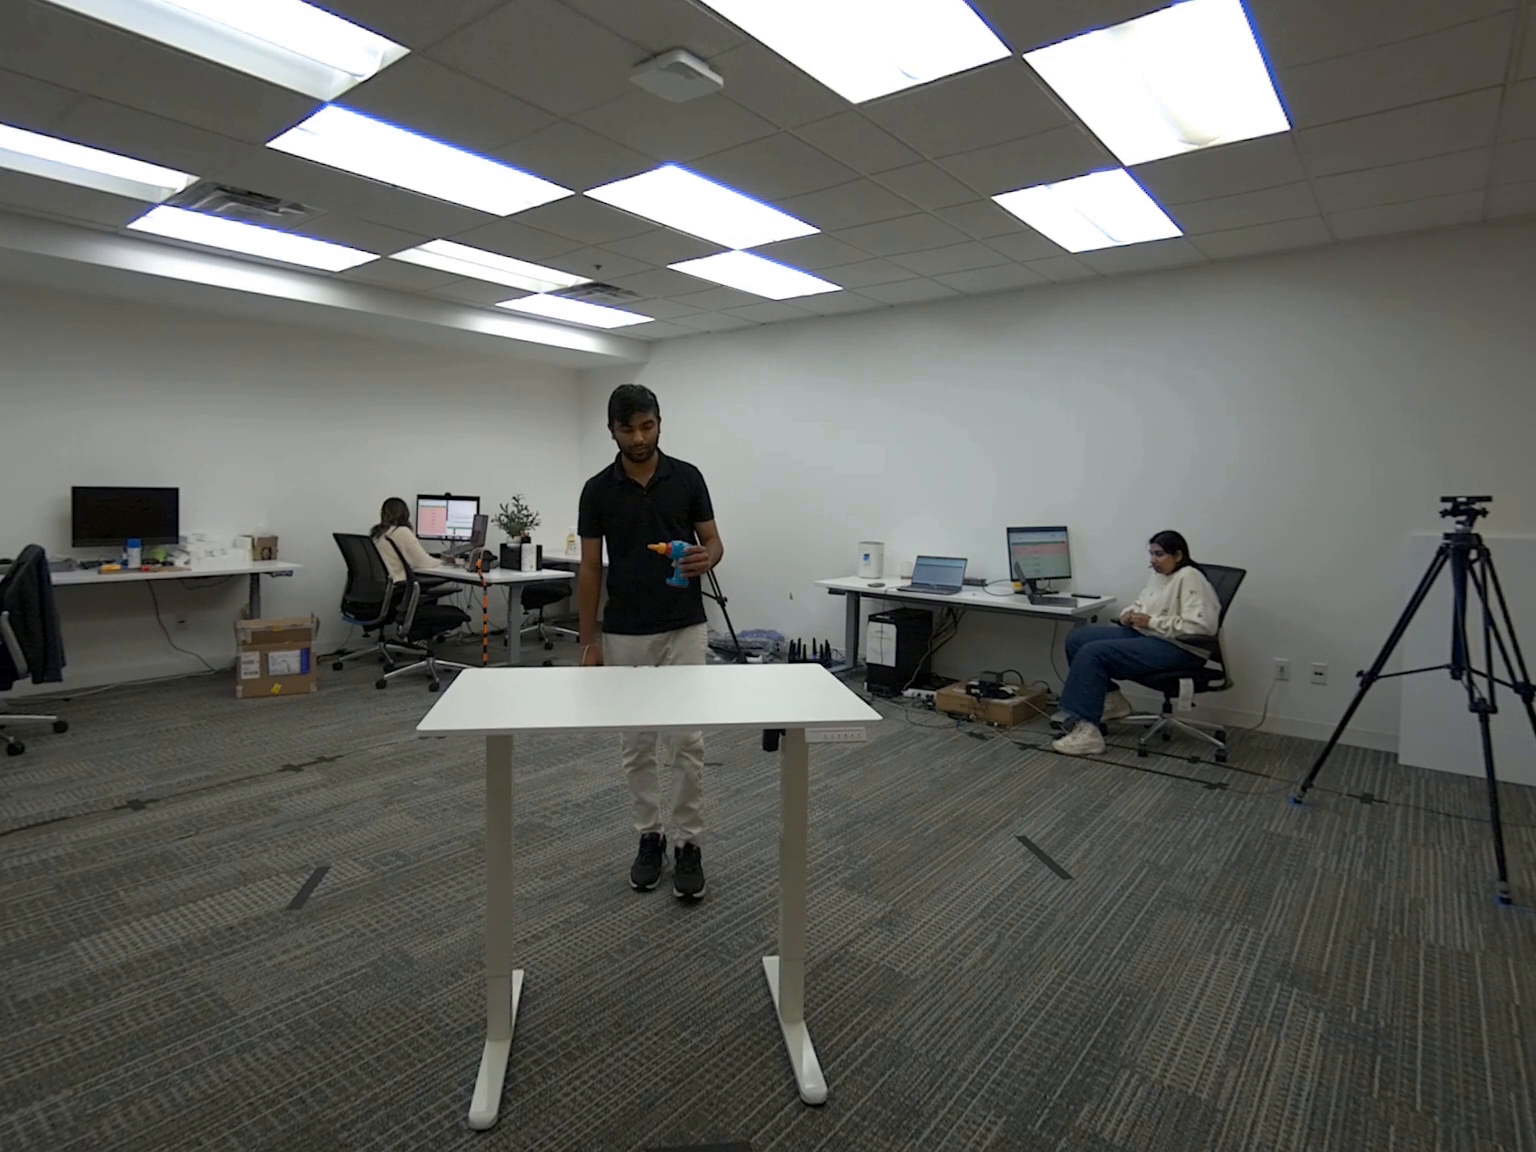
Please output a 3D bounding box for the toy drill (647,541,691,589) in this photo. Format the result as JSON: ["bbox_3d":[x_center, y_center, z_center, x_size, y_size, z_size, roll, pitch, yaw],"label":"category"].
[{"bbox_3d":[-0.323,-0.051,2.741,0.165,0.145,0.063,7,10,-26],"label":"toy drill"}]
